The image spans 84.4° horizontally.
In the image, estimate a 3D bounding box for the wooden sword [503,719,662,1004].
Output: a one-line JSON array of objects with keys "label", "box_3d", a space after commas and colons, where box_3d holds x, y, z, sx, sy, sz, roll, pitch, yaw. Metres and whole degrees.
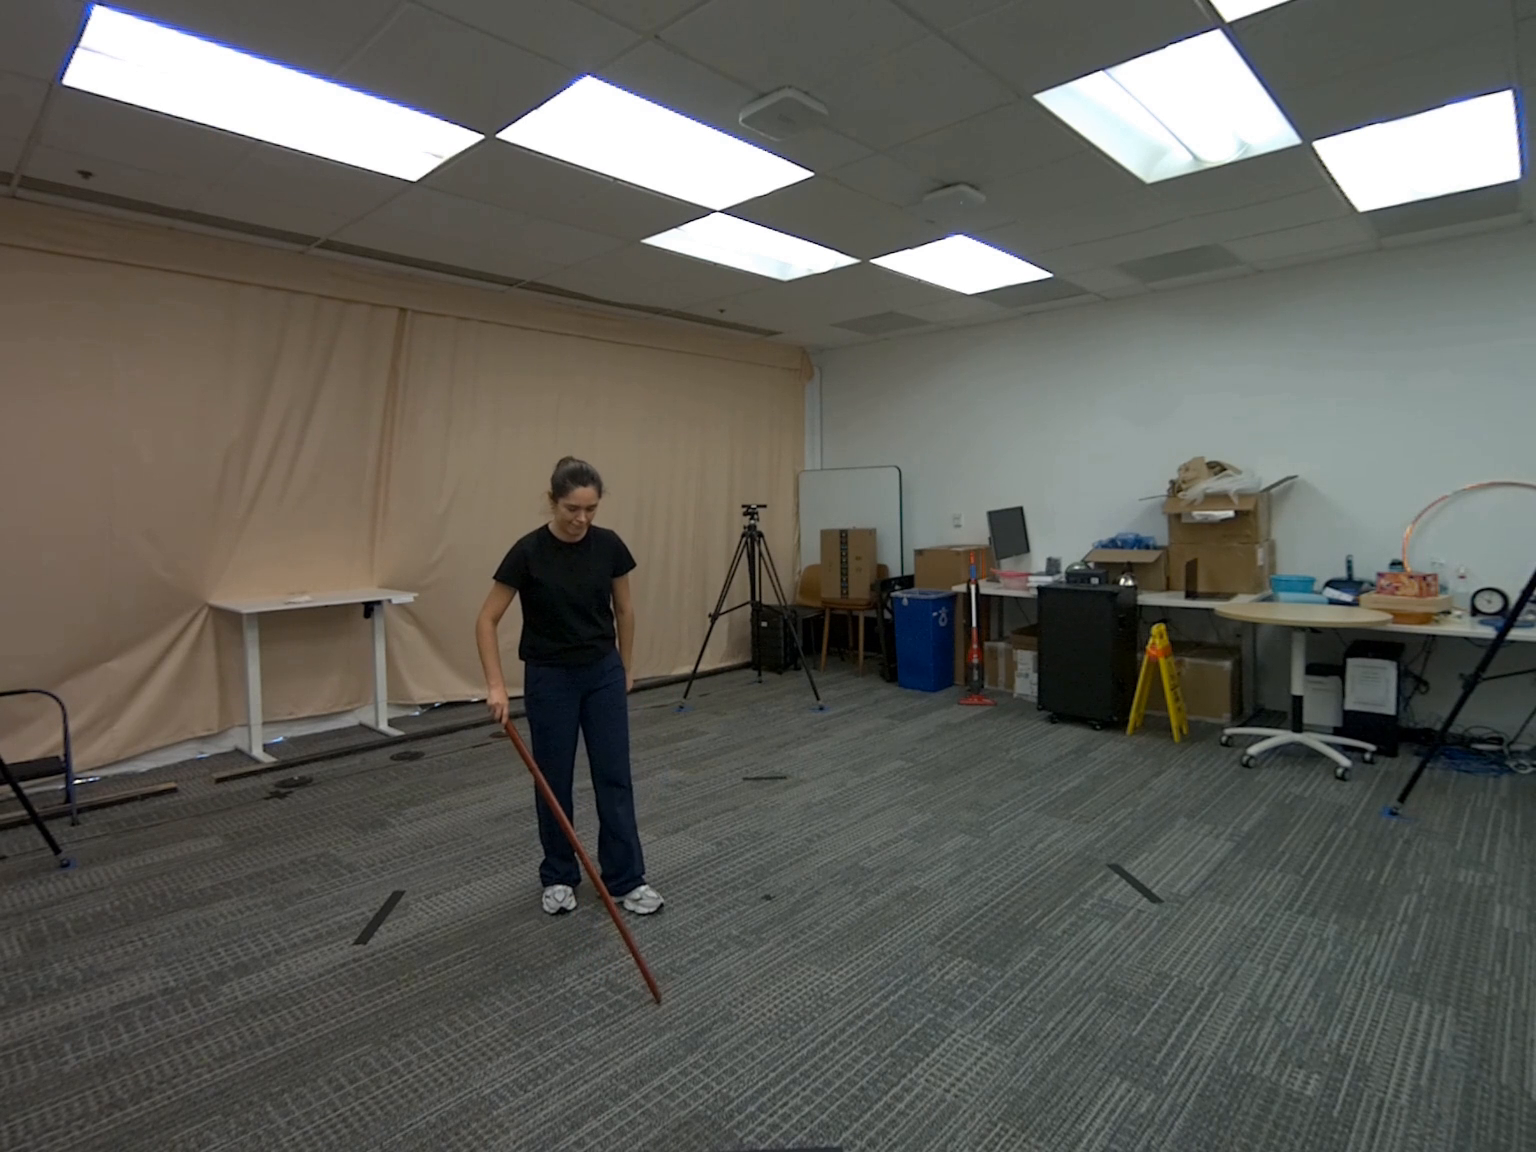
[{"label": "wooden sword", "box_3d": [-0.559, 0.796, 2.548, 0.024, 1.050, 0.050, -34, -23, -4]}]
